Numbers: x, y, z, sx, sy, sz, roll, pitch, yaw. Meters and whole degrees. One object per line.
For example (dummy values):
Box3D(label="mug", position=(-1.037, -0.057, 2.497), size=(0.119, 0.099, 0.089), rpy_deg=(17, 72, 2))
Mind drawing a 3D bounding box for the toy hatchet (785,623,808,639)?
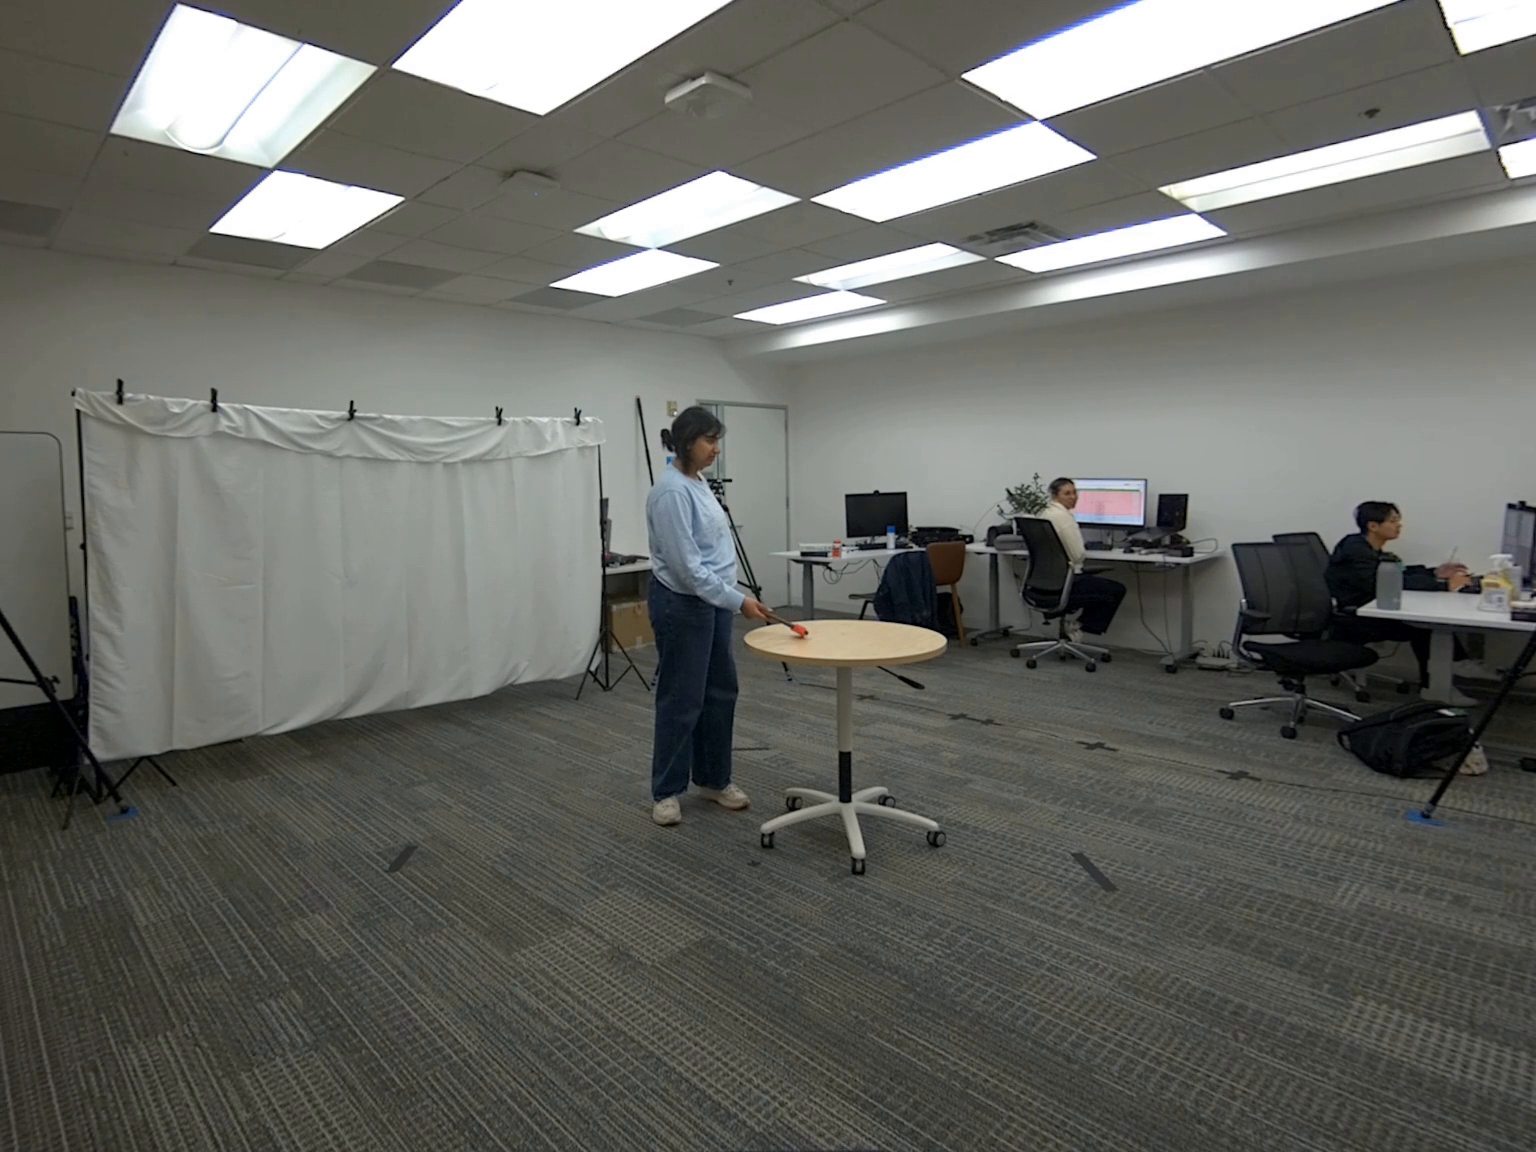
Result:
Box3D(label="toy hatchet", position=(0.050, 0.178, 3.336), size=(0.279, 0.030, 0.126), rpy_deg=(19, -10, 35))
